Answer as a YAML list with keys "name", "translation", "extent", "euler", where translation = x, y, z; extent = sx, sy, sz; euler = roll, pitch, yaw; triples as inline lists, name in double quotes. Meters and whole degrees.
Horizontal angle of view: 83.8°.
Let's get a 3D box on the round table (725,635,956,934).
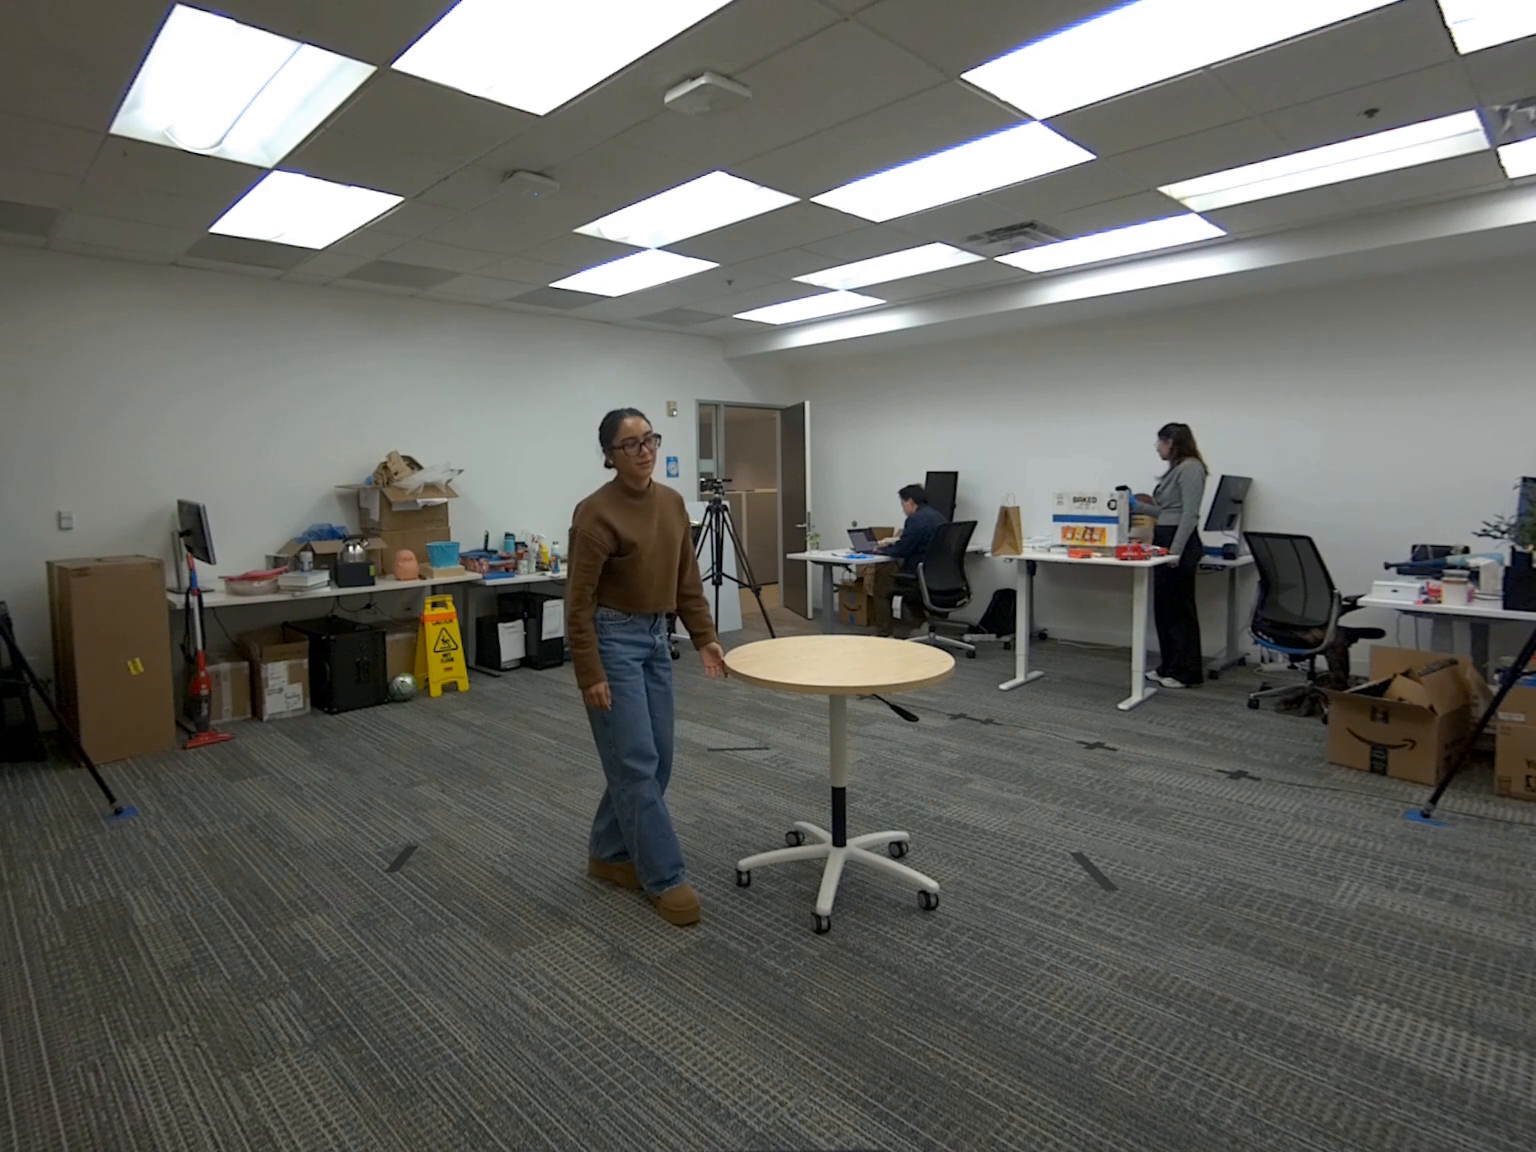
- name: "round table"
  translation: [0.240, 0.669, 2.907]
  extent: [0.763, 0.791, 0.768]
  euler: [-1, 5, -2]
